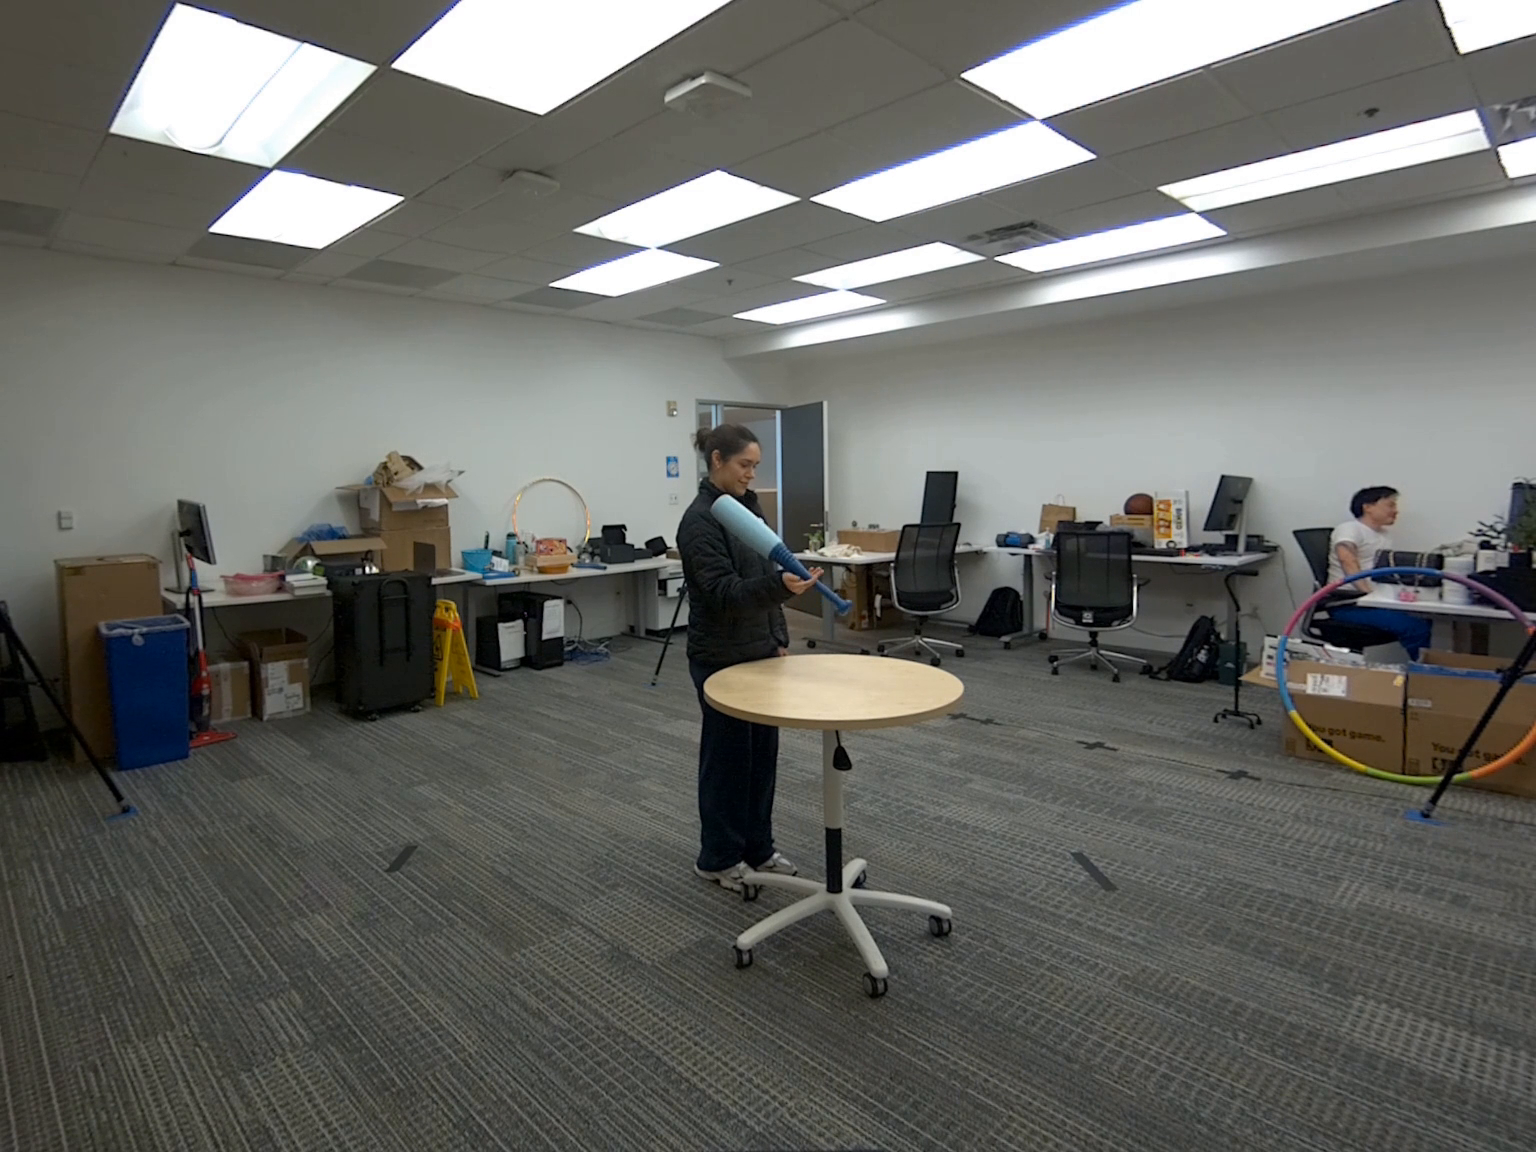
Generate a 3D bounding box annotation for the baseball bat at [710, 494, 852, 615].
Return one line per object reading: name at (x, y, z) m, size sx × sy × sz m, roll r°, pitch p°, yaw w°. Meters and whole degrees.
baseball bat at (0.037, -0.060, 2.612) m, size 0.559 × 0.088 × 0.087 m, roll 41°, pitch 23°, yaw 23°
